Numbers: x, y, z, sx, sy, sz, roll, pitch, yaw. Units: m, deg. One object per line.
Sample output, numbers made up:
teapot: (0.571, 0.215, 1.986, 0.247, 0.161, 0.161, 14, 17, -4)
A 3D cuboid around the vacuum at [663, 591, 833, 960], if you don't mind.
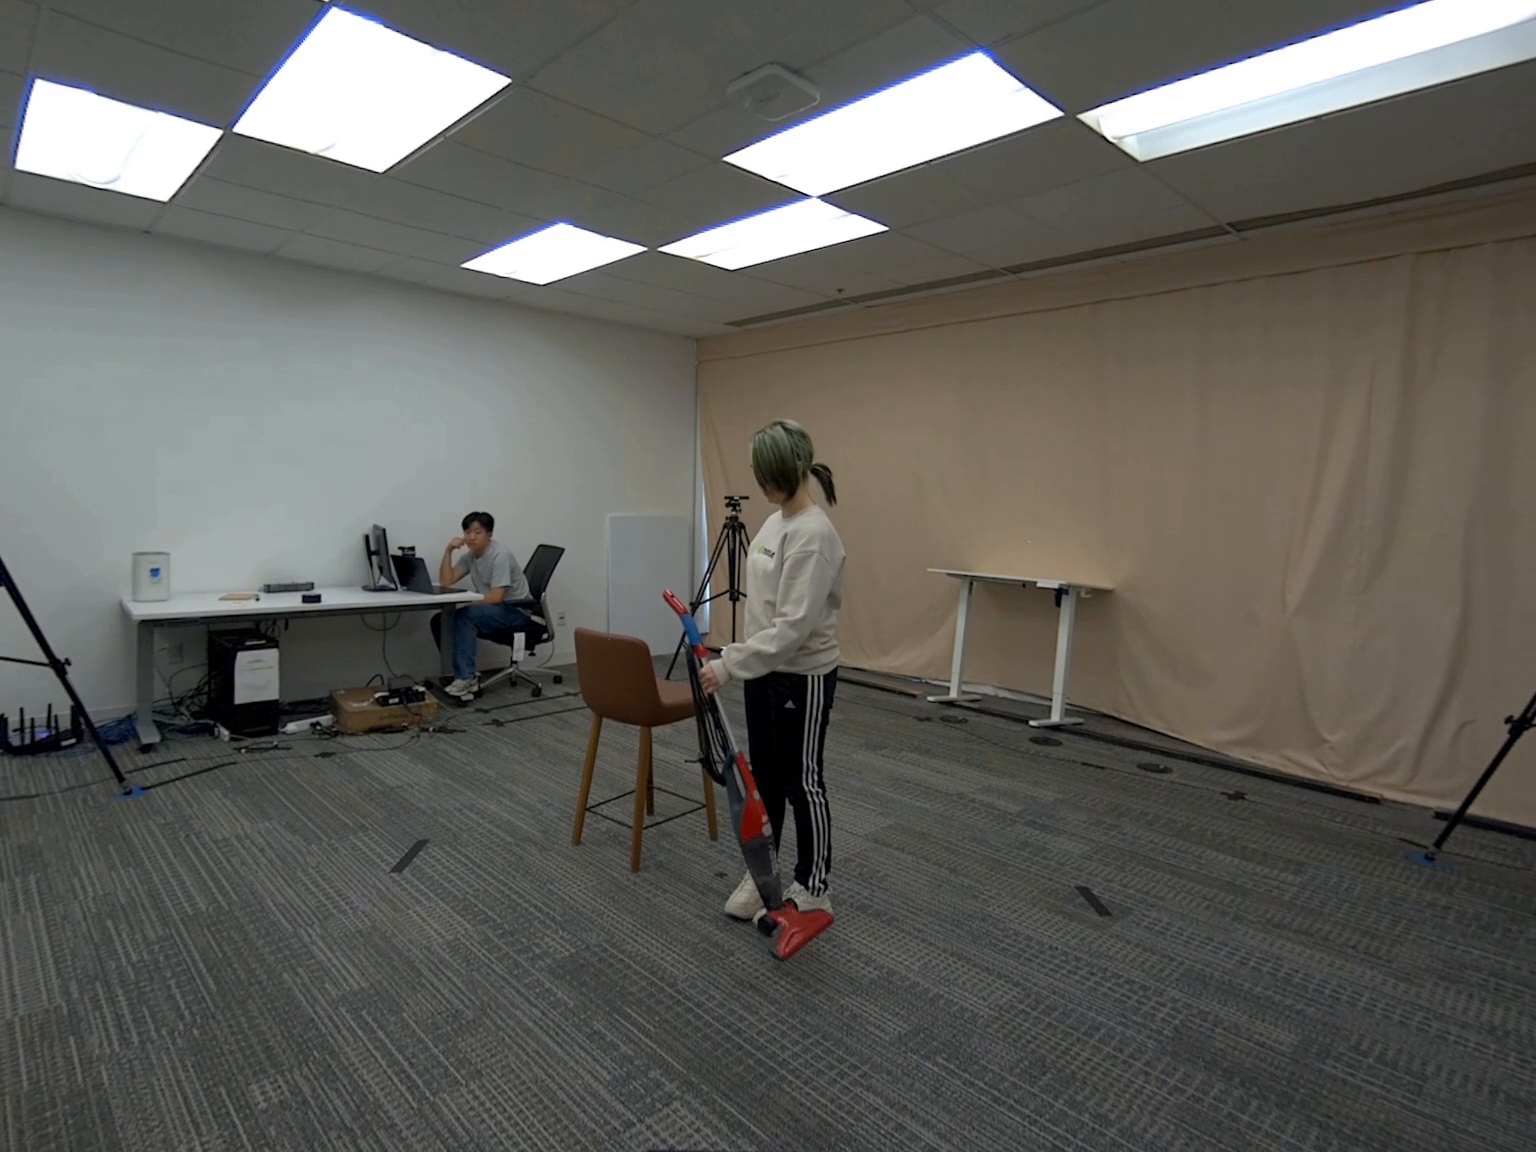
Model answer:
vacuum: (-0.132, 0.549, 2.524, 0.248, 1.059, 0.145, -14, -12, -40)
